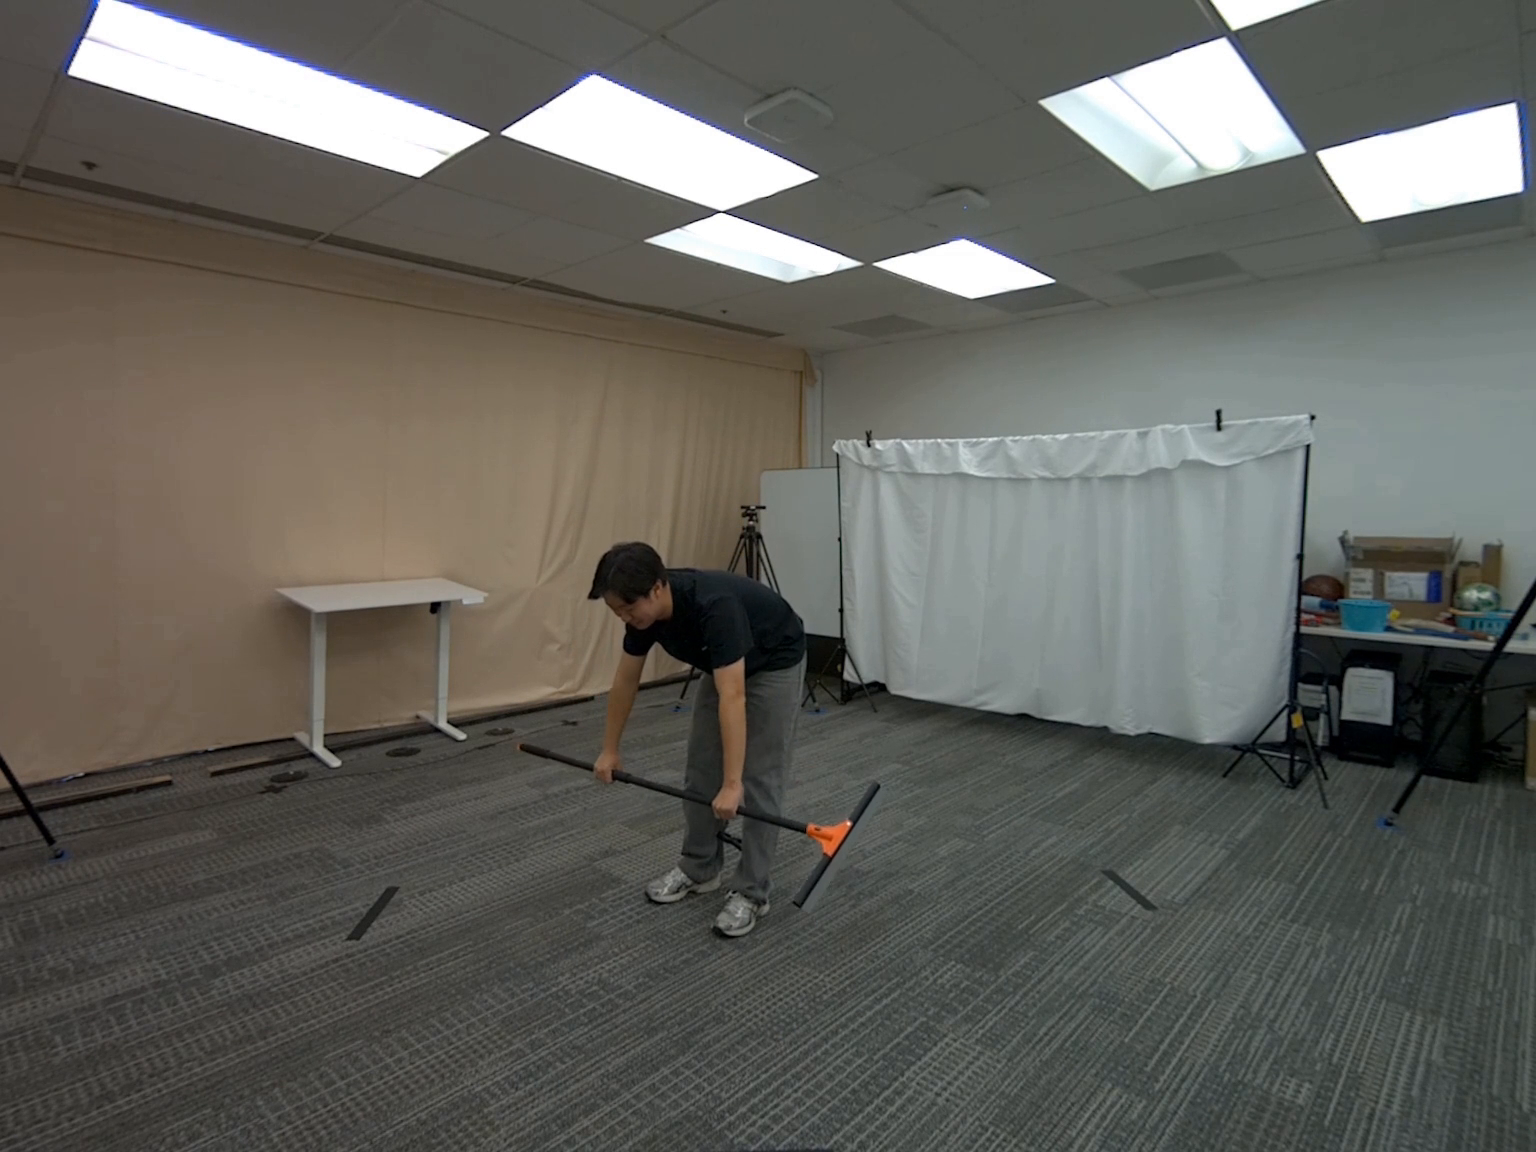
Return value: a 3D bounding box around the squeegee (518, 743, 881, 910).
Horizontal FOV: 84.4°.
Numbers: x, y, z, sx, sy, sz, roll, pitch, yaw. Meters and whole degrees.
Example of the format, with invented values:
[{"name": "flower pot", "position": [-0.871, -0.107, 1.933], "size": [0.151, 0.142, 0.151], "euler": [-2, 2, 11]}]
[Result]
[{"name": "squeegee", "position": [-0.375, 0.685, 2.761], "size": [1.588, 0.052, 0.433], "euler": [2, 36, 41]}]
